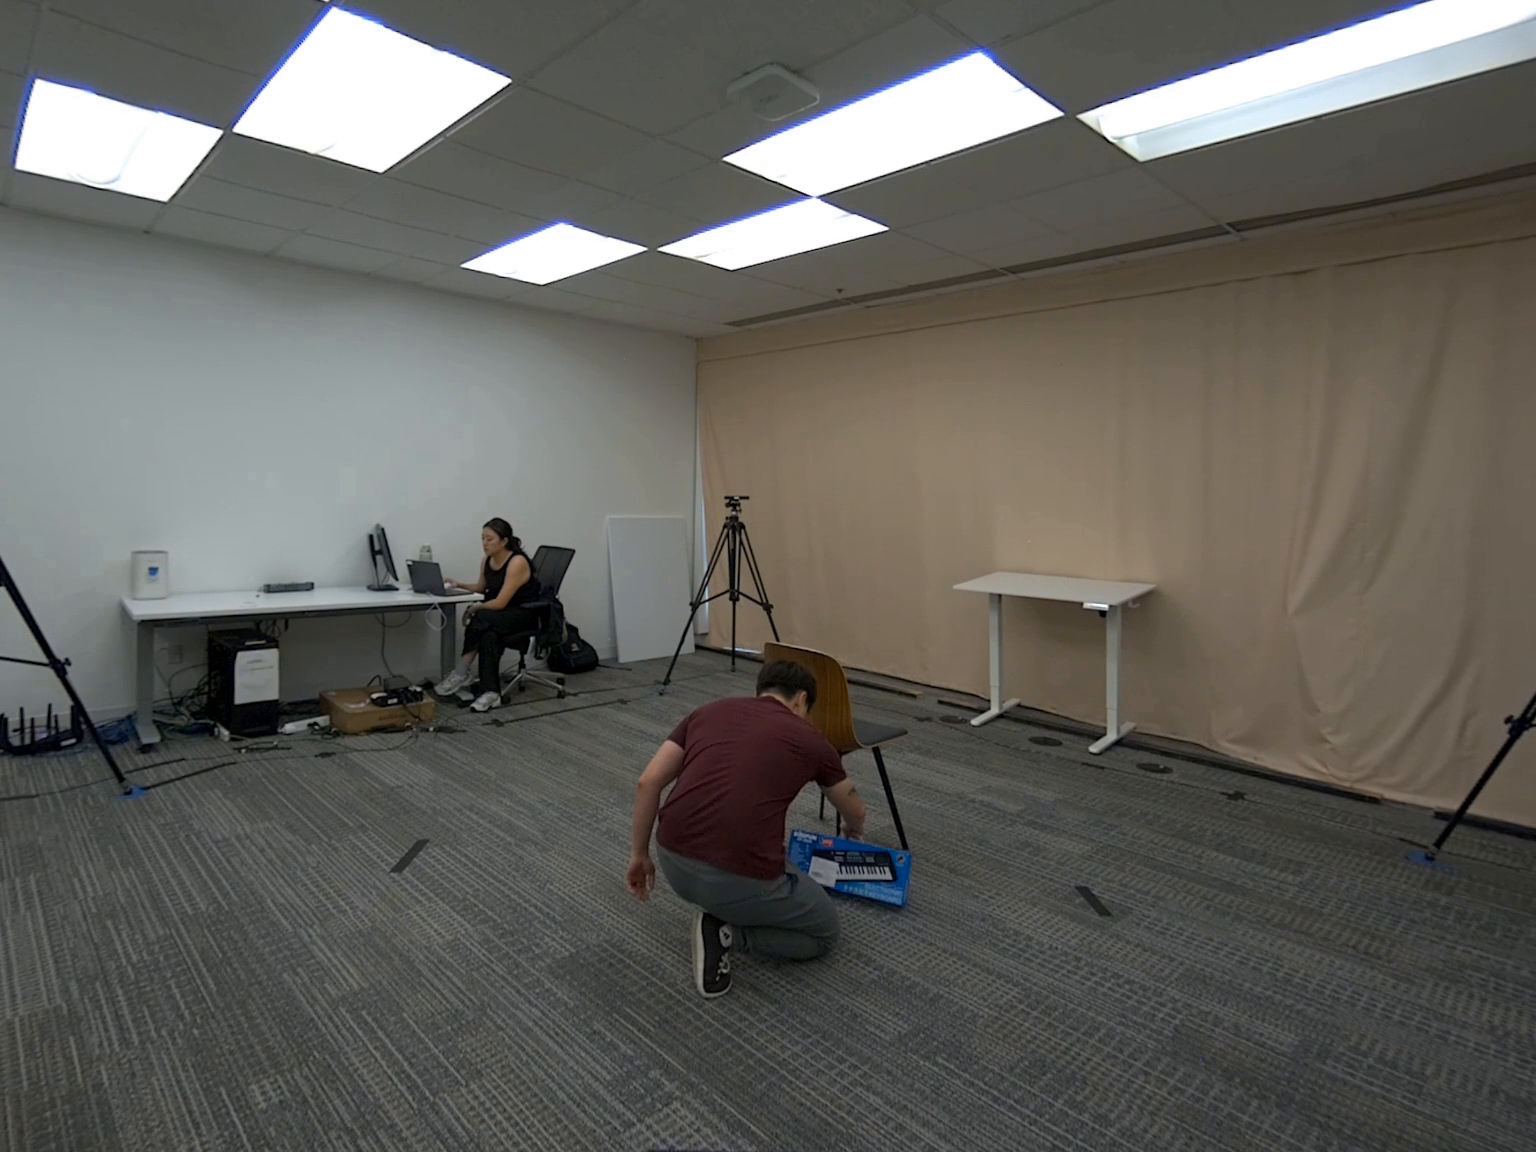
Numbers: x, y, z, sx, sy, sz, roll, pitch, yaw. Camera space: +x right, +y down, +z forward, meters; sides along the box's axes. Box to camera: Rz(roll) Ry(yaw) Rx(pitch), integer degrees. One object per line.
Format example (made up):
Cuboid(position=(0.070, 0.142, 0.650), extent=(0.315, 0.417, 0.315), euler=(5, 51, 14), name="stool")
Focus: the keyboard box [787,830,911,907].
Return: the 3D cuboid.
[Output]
Cuboid(position=(0.274, 1.033, 2.978), extent=(0.445, 0.178, 0.057), euler=(3, -21, 26), name="keyboard box")
